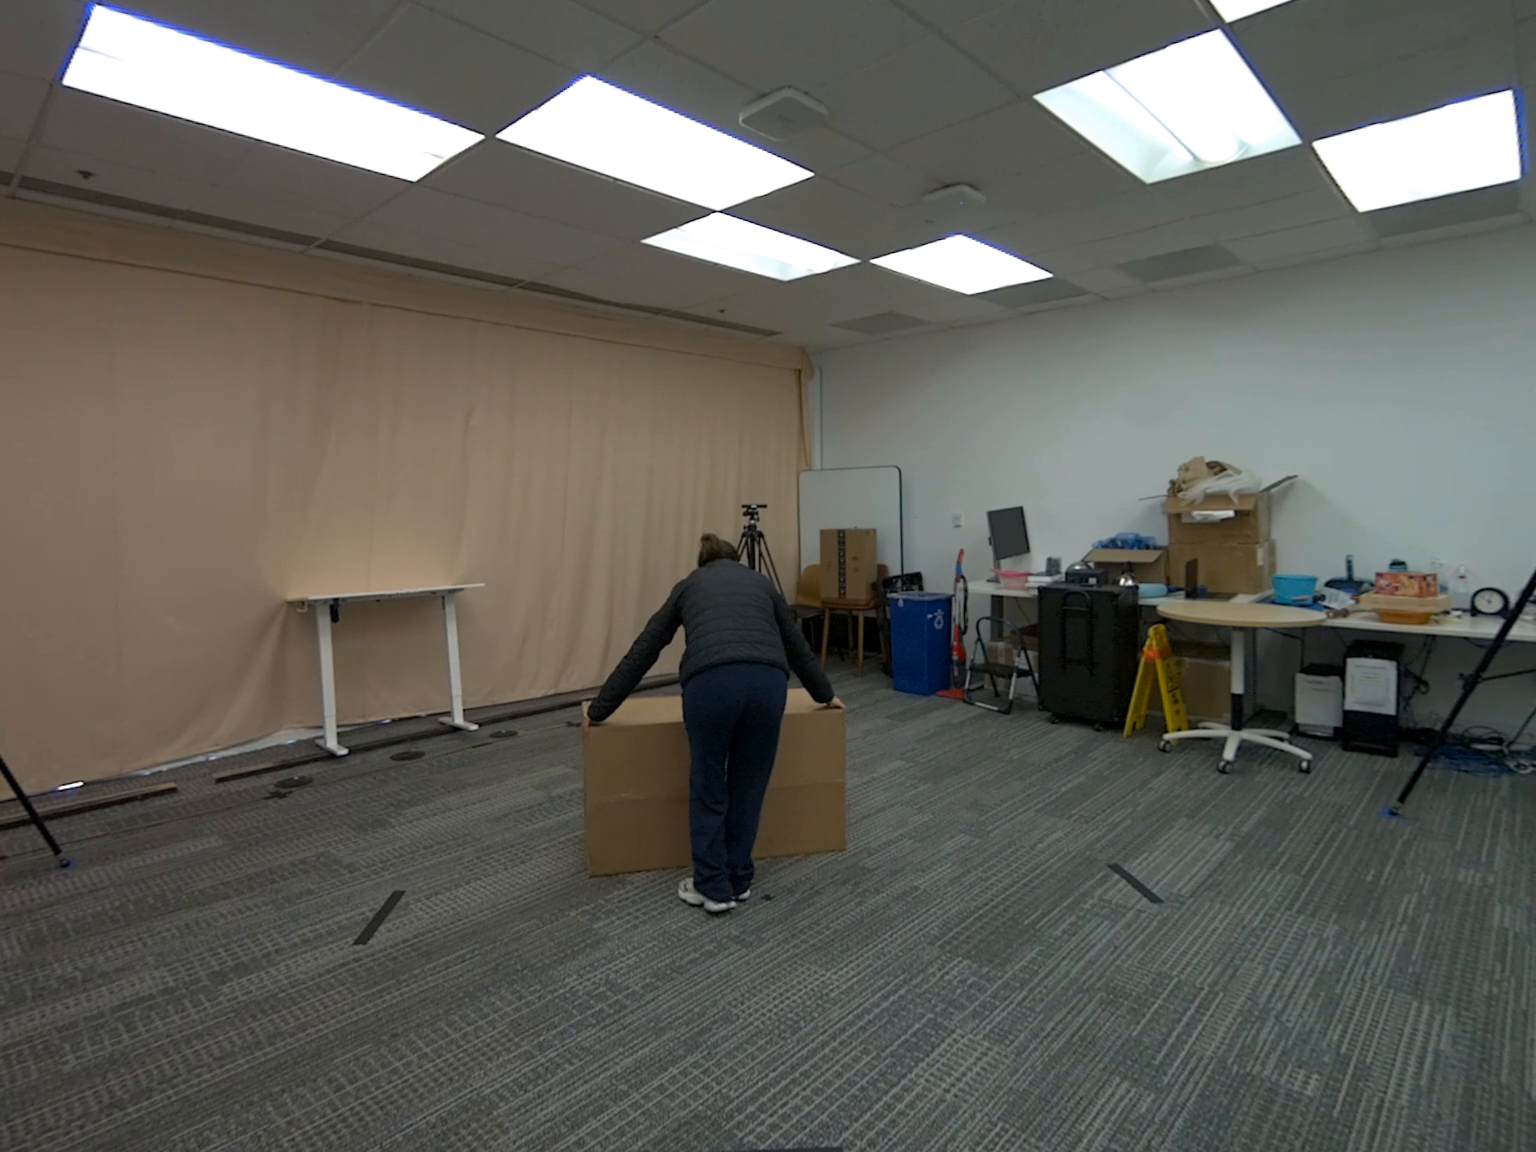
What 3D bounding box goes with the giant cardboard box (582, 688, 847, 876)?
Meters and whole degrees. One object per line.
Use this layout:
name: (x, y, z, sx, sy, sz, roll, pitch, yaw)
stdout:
giant cardboard box: (-0.226, 0.813, 3.464, 1.013, 0.583, 0.453, -2, 3, -13)
